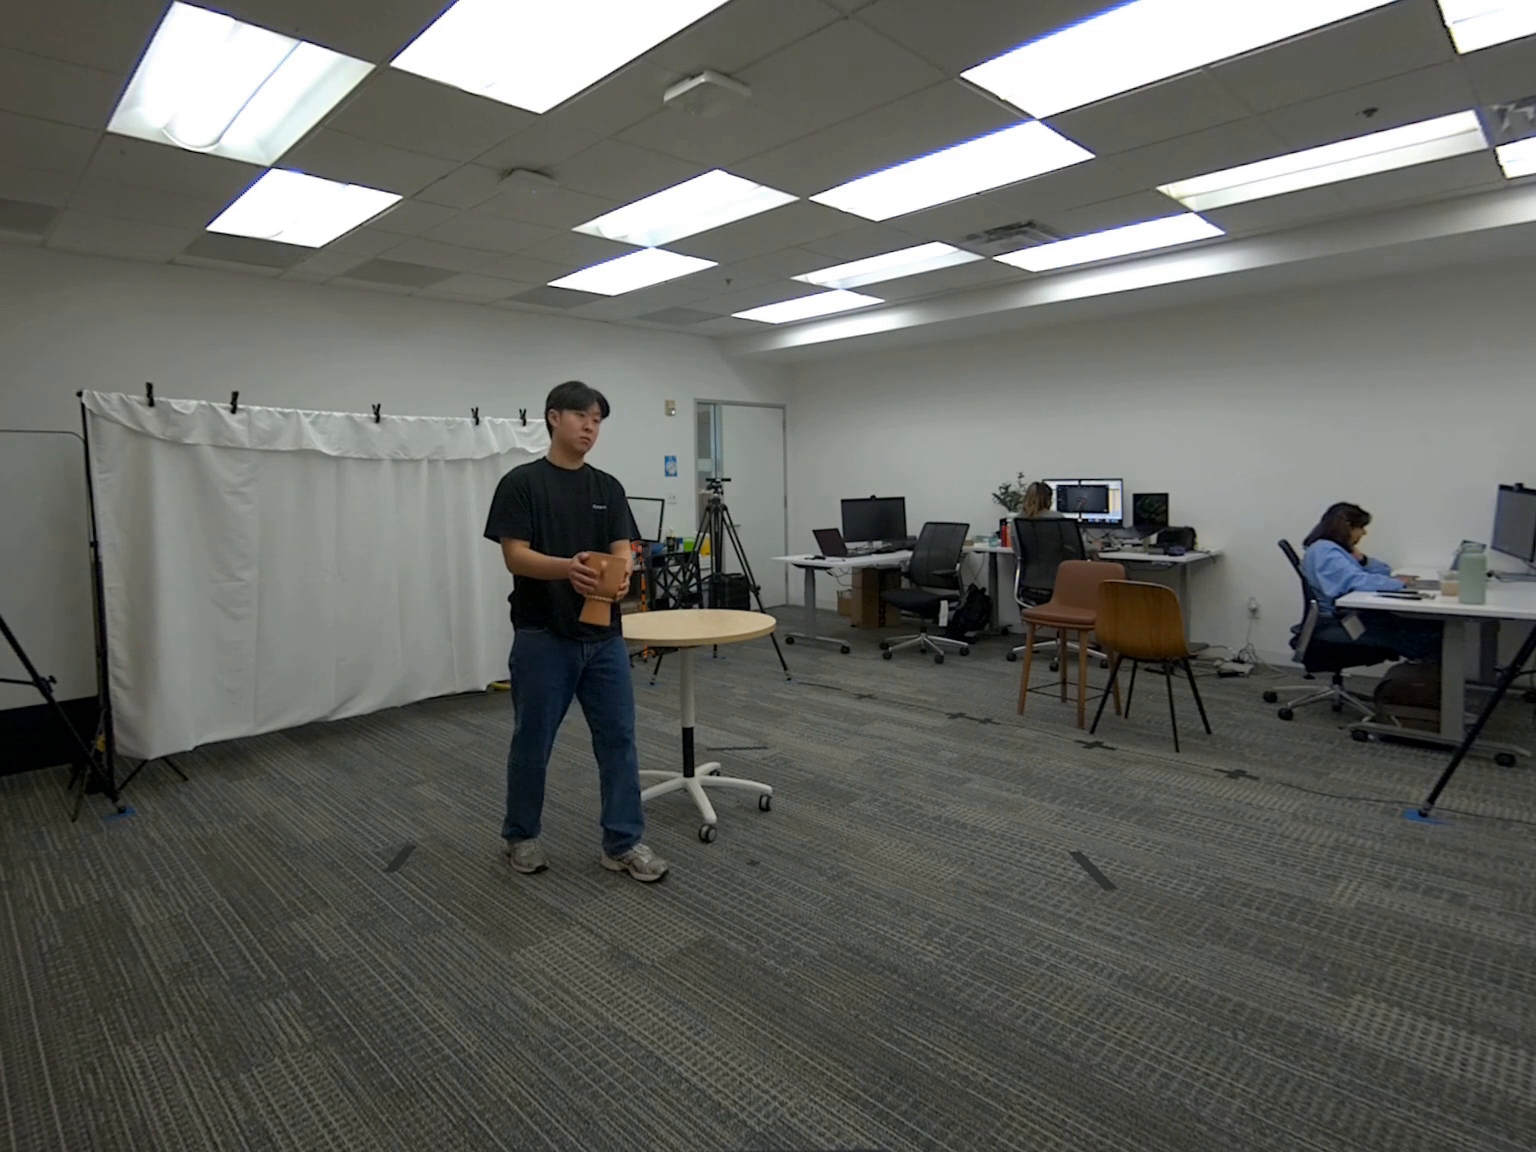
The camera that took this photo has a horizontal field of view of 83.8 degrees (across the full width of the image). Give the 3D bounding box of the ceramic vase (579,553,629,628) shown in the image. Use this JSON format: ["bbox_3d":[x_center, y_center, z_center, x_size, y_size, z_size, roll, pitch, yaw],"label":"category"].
[{"bbox_3d":[-0.540,0.044,2.707,0.138,0.220,0.154,7,-4,32],"label":"ceramic vase"}]
